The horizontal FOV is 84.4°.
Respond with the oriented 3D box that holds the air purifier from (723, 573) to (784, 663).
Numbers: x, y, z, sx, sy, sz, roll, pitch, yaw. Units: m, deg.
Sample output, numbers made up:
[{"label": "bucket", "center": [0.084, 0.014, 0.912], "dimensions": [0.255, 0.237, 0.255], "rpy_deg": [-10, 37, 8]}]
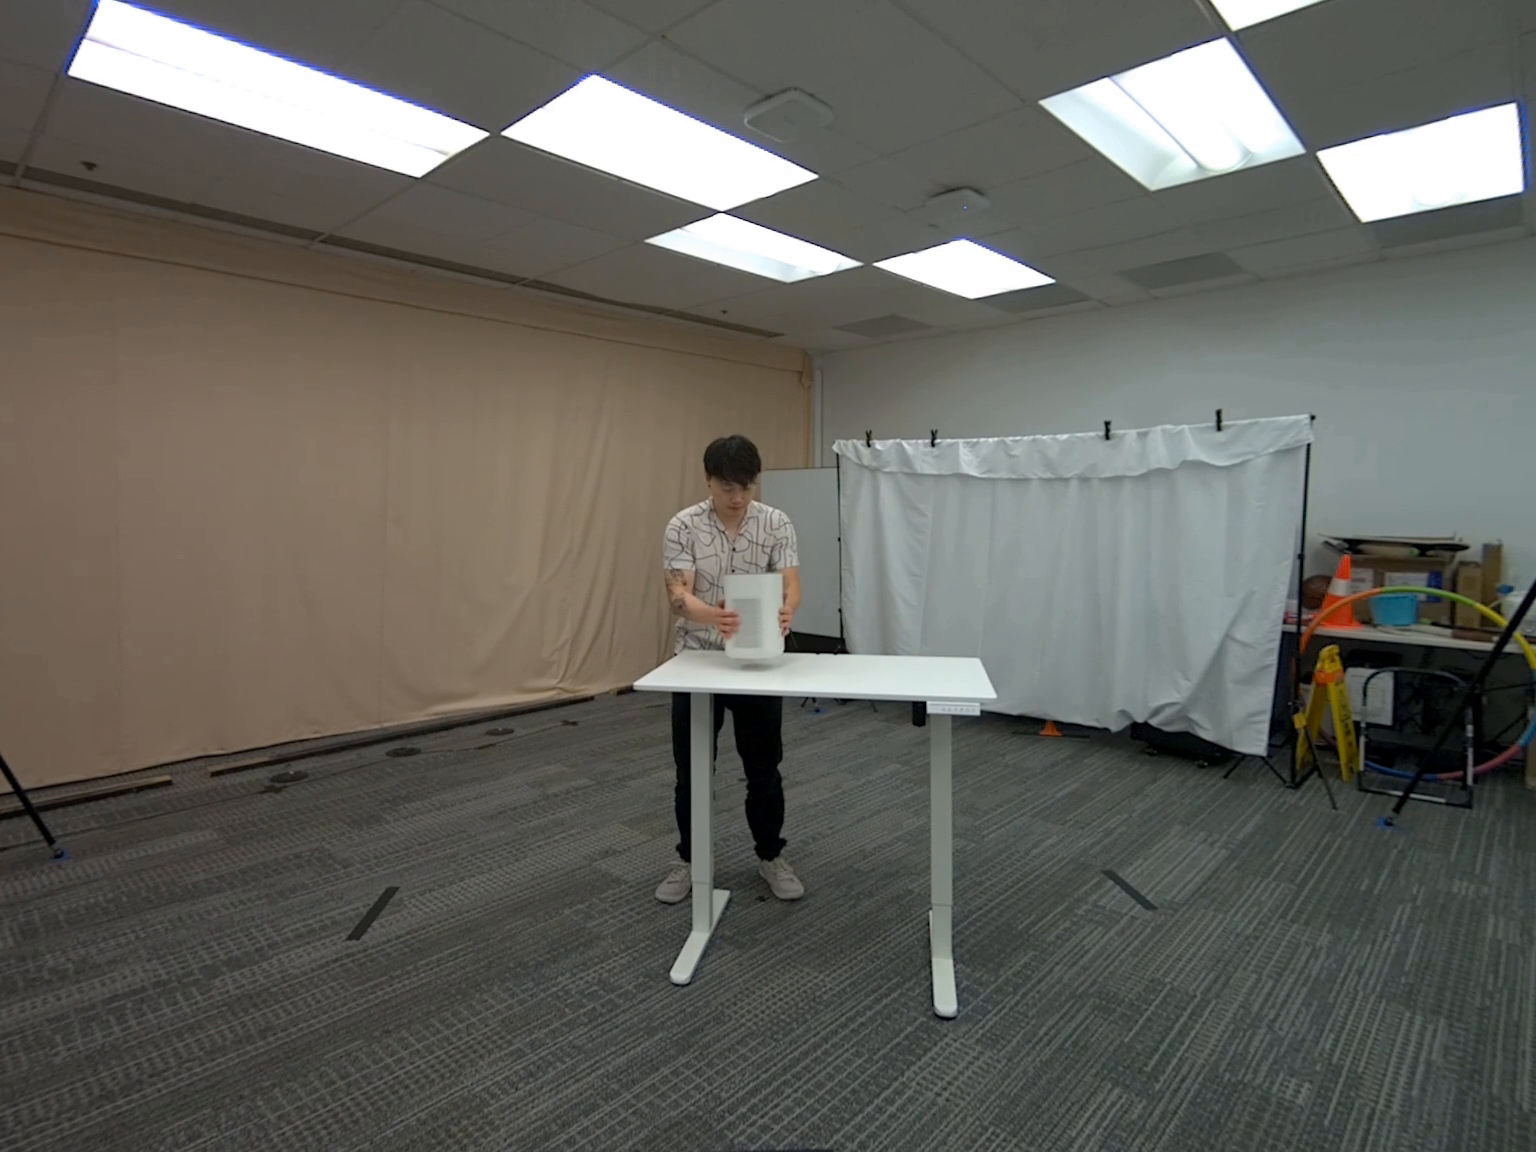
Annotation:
[{"label": "air purifier", "center": [-0.042, 0.127, 2.652], "dimensions": [0.174, 0.266, 0.168], "rpy_deg": [-2, -2, 16]}]
